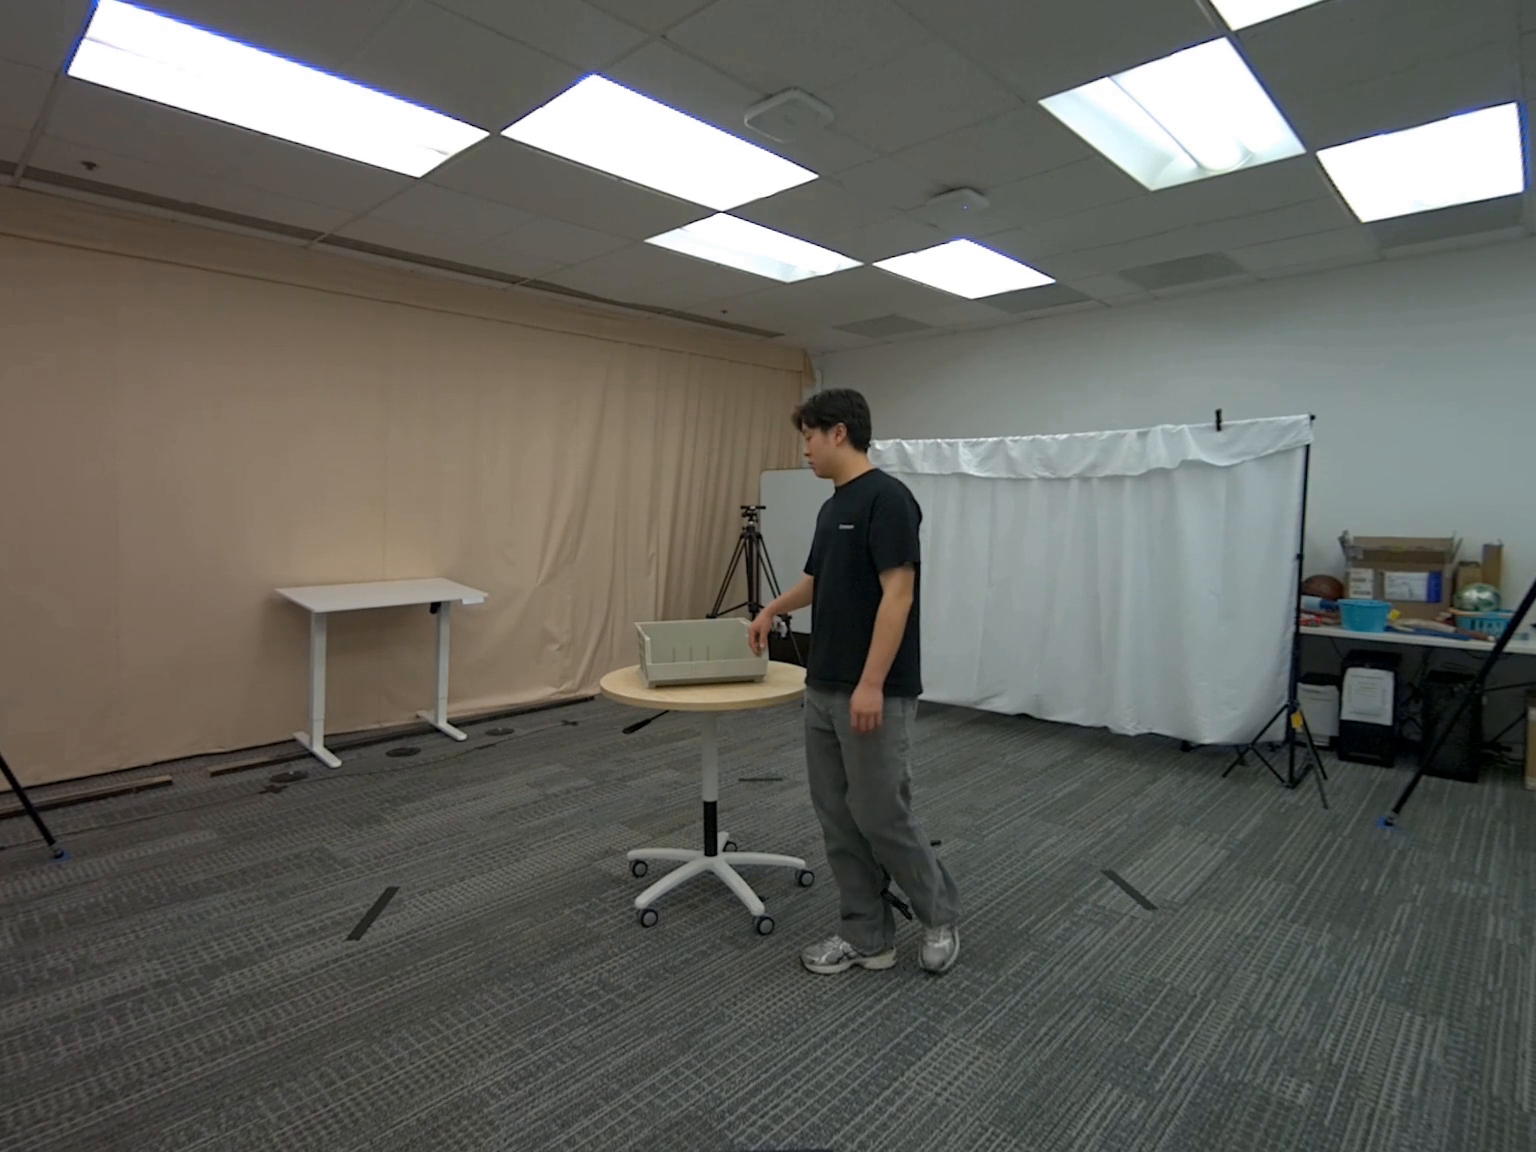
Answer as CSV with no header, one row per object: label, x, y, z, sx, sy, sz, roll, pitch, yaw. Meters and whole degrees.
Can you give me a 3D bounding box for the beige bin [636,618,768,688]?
beige bin,-0.244,0.270,2.994,0.417,0.188,0.383,-2,3,-13
